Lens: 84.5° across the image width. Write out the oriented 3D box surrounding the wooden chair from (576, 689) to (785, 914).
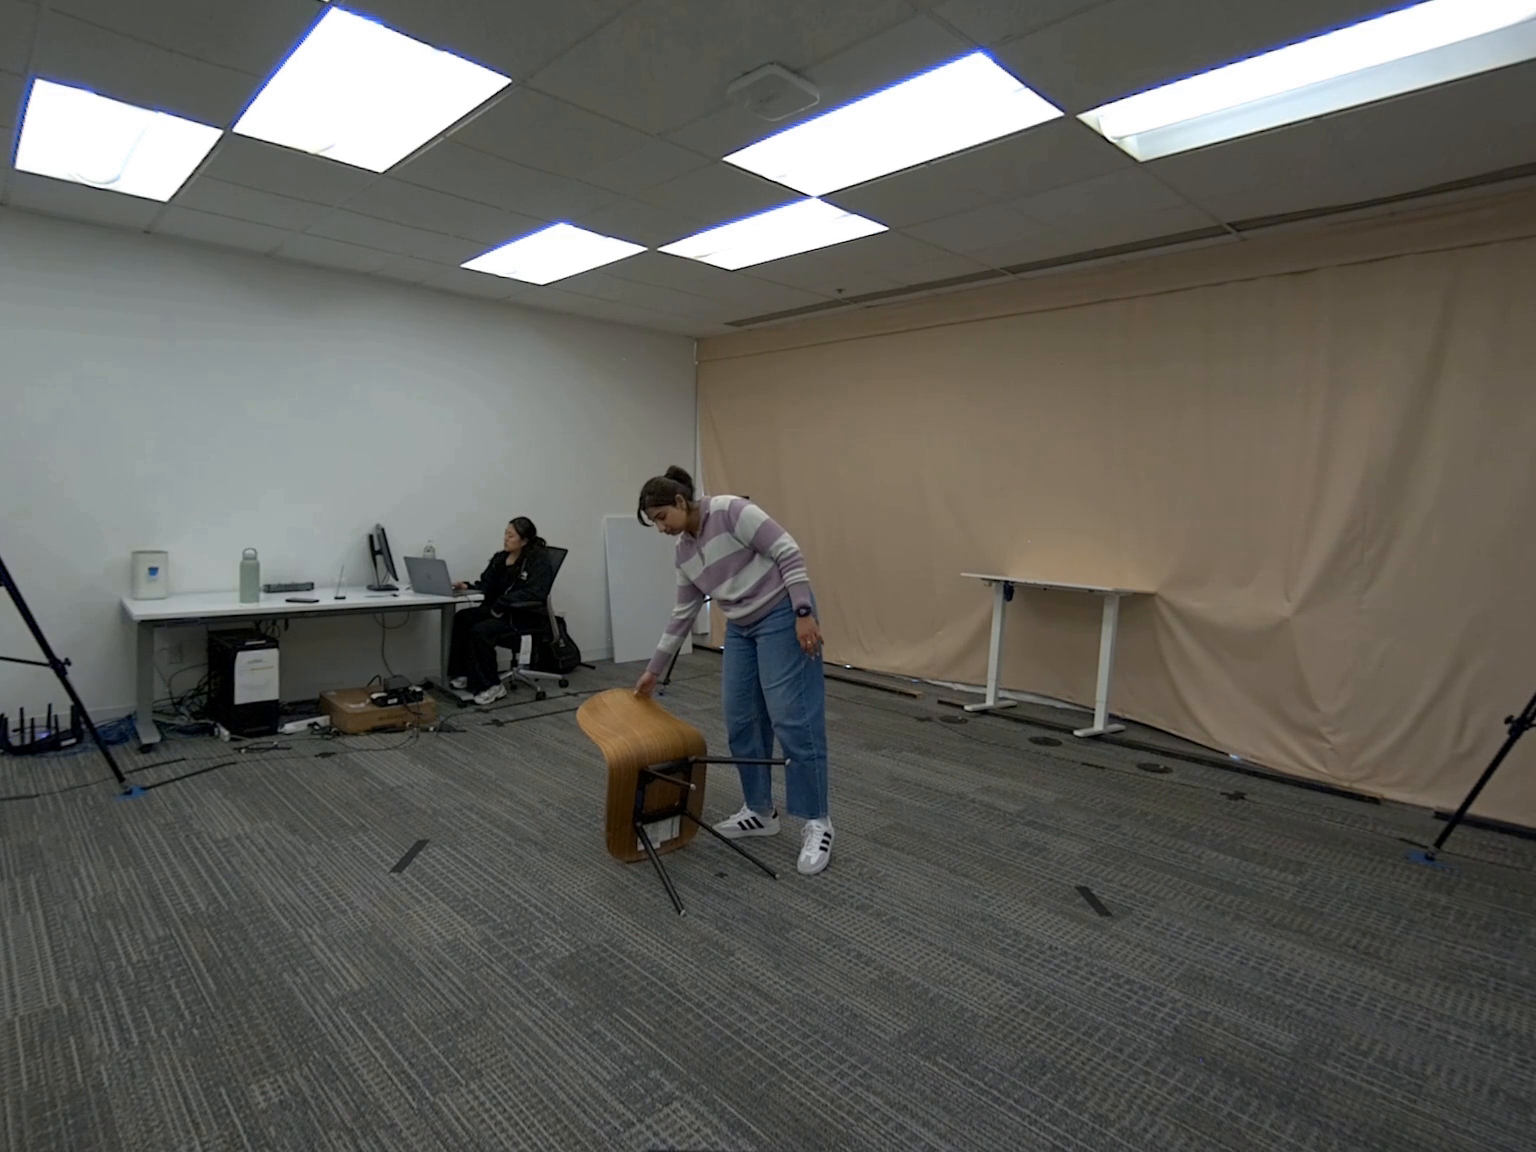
[{"bbox_3d":[-0.406,0.835,3.226,0.467,0.520,0.903,-3,14,-43],"label":"wooden chair"}]
